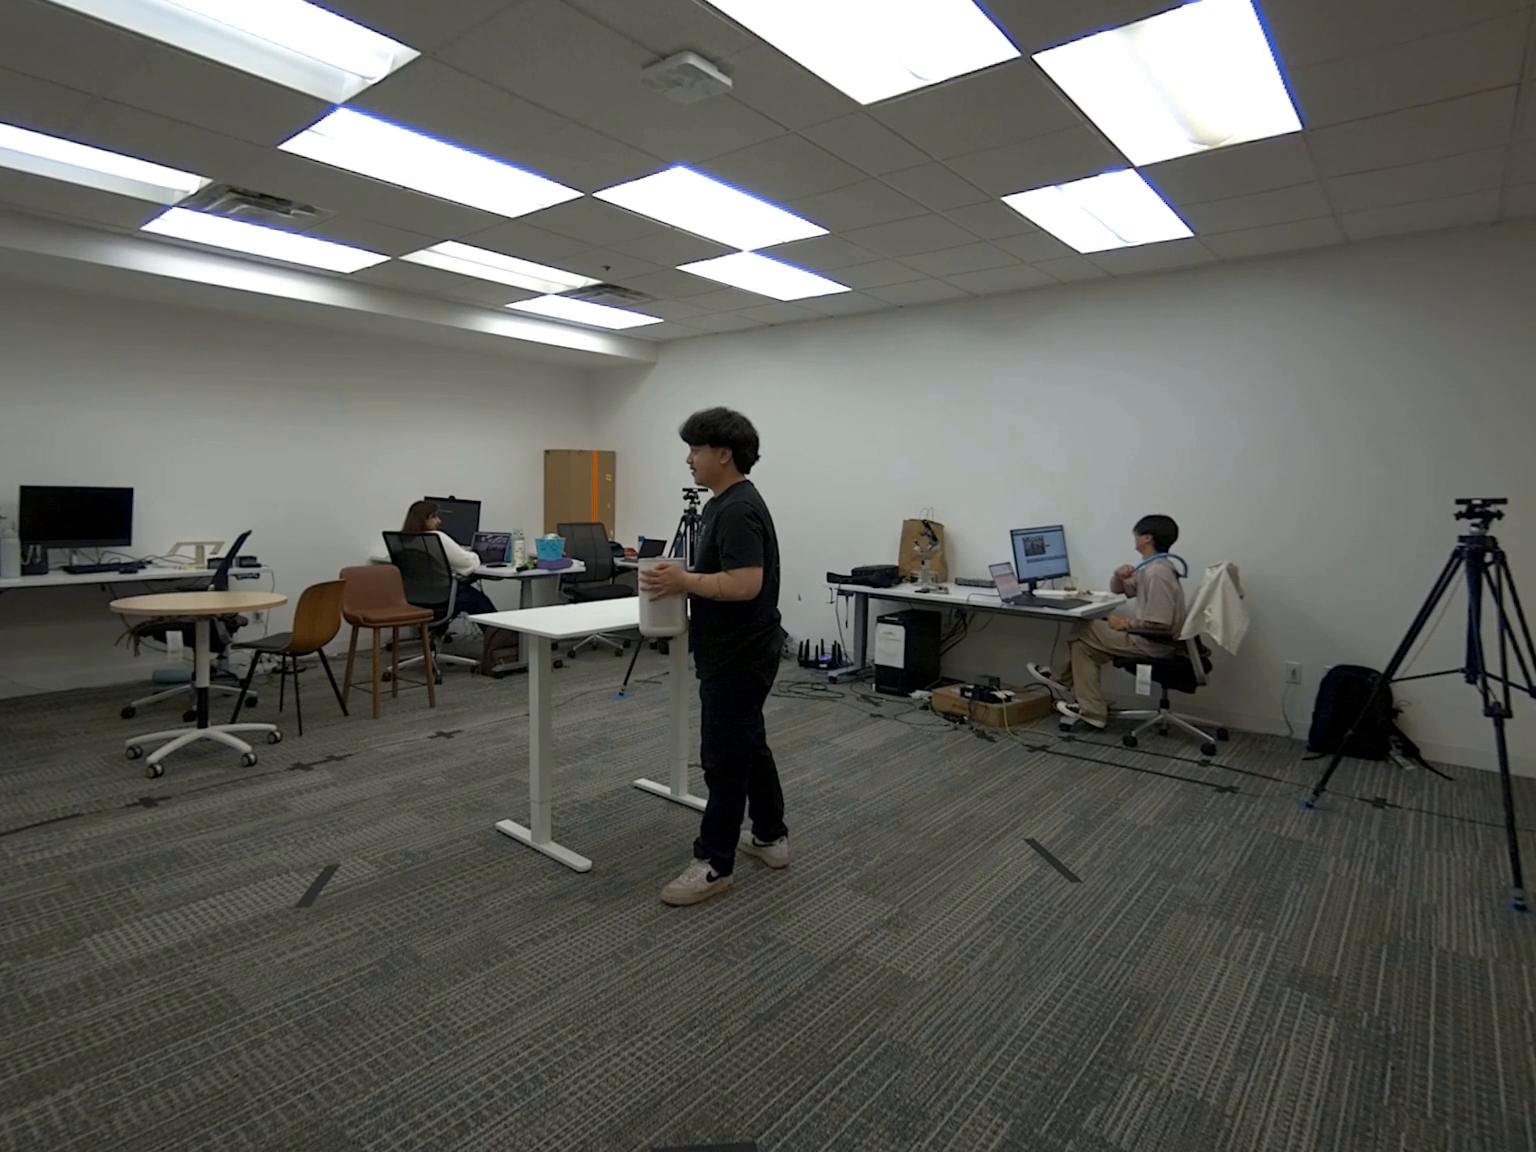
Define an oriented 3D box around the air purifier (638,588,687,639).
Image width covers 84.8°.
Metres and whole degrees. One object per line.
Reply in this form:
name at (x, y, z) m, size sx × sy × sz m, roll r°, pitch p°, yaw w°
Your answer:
air purifier at (-0.371, 0.071, 2.976) m, size 0.170 × 0.265 × 0.172 m, roll -1°, pitch 2°, yaw -7°
